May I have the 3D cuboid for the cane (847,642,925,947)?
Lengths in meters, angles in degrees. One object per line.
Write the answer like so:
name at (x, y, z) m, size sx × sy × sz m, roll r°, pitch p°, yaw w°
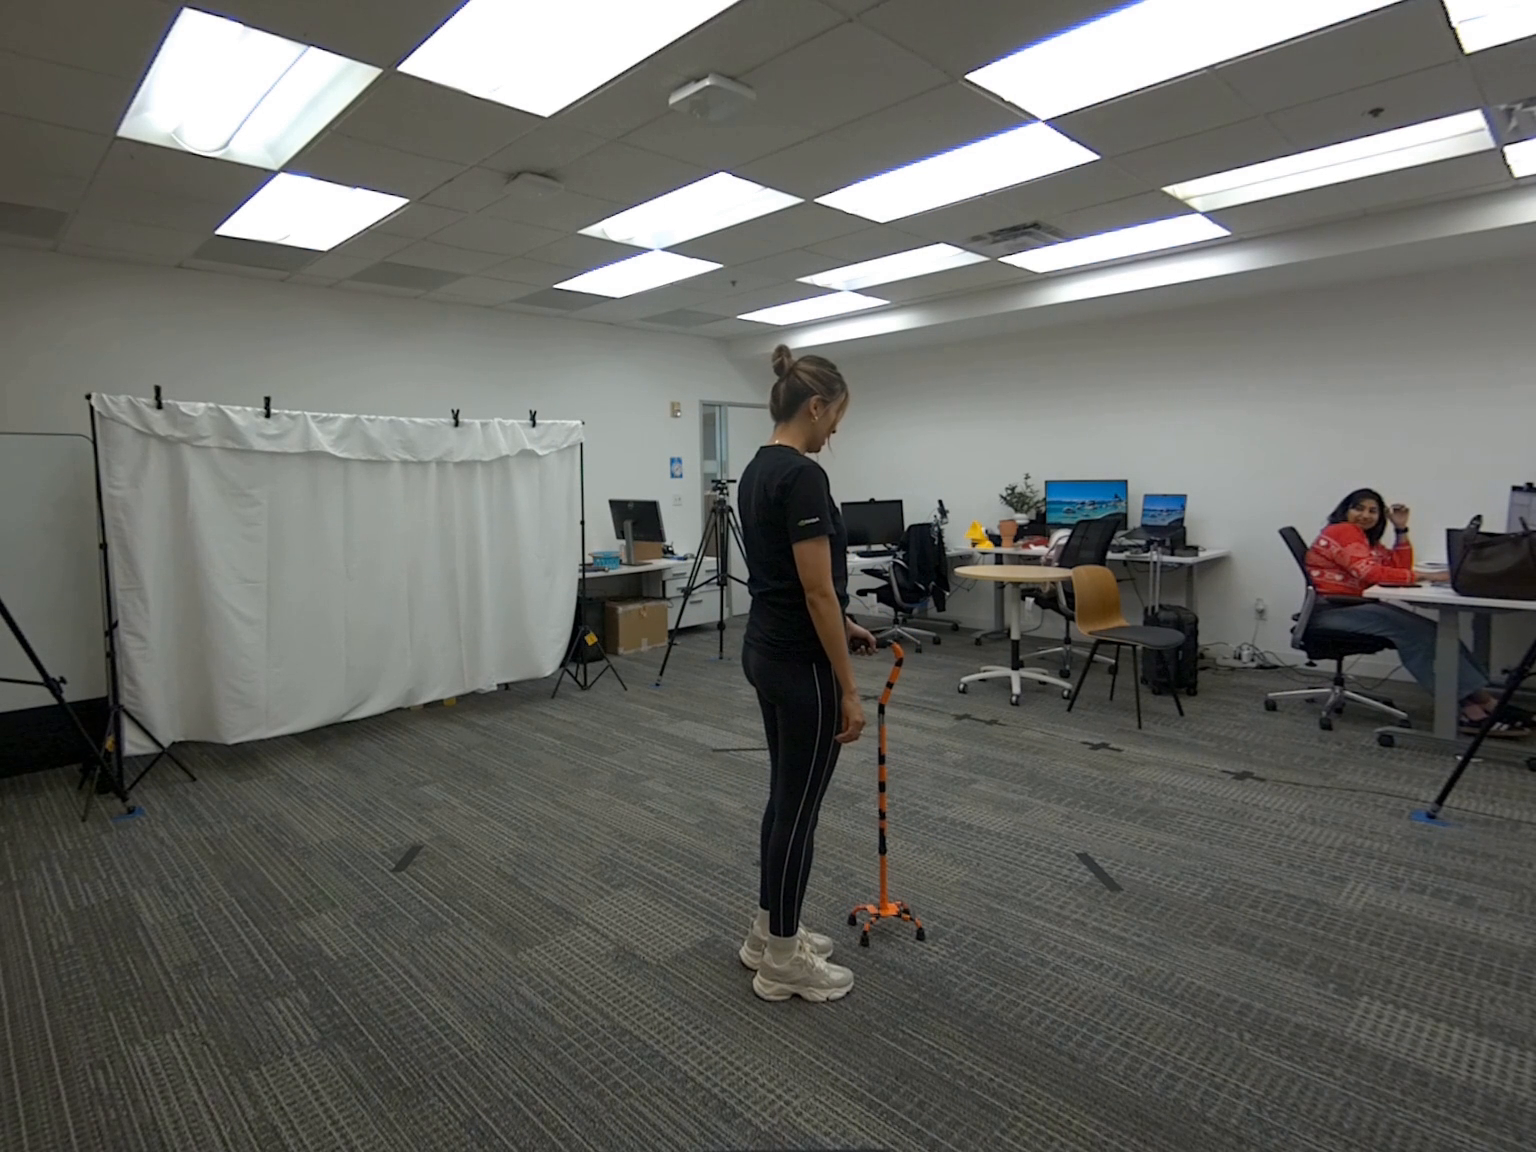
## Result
cane at (0.364, 0.641, 2.598) m, size 0.204 × 0.905 × 0.154 m, roll -2°, pitch 4°, yaw -12°
